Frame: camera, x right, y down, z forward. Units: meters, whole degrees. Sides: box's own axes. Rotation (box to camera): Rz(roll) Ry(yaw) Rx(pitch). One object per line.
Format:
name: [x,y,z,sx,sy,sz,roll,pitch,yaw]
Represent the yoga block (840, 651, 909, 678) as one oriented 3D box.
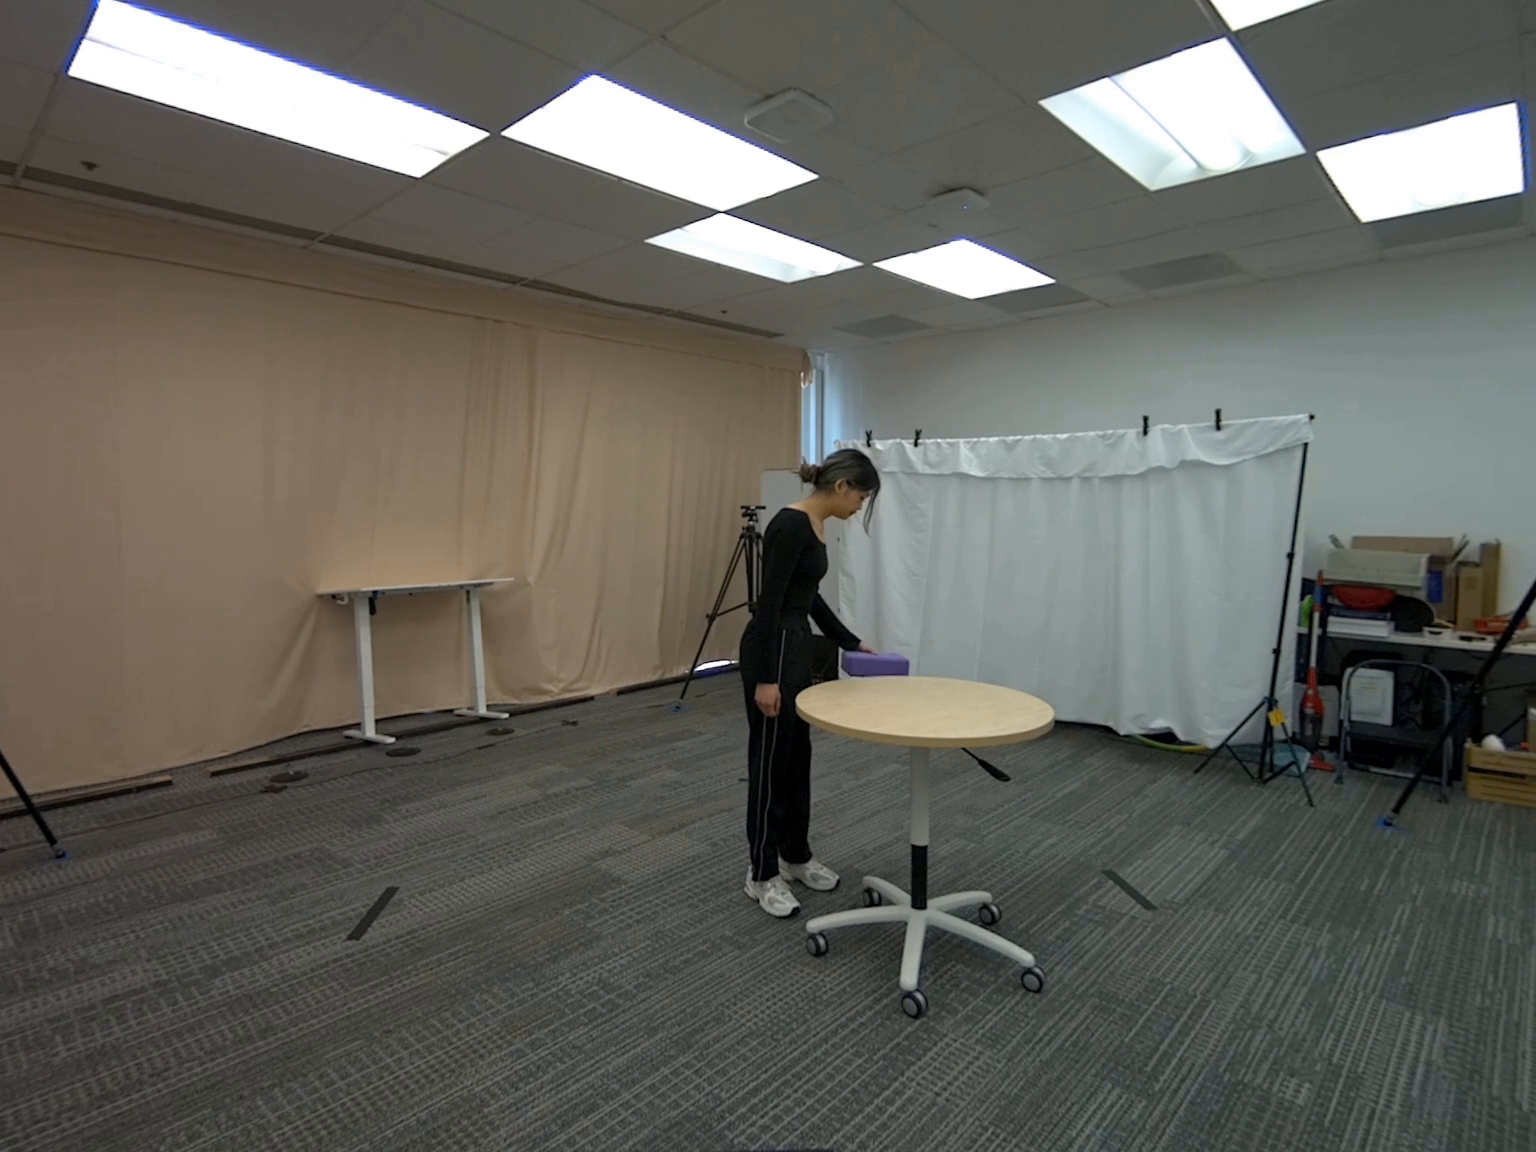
yoga block: [0.410,0.334,3.177,0.229,0.076,0.149,3,4,-1]
